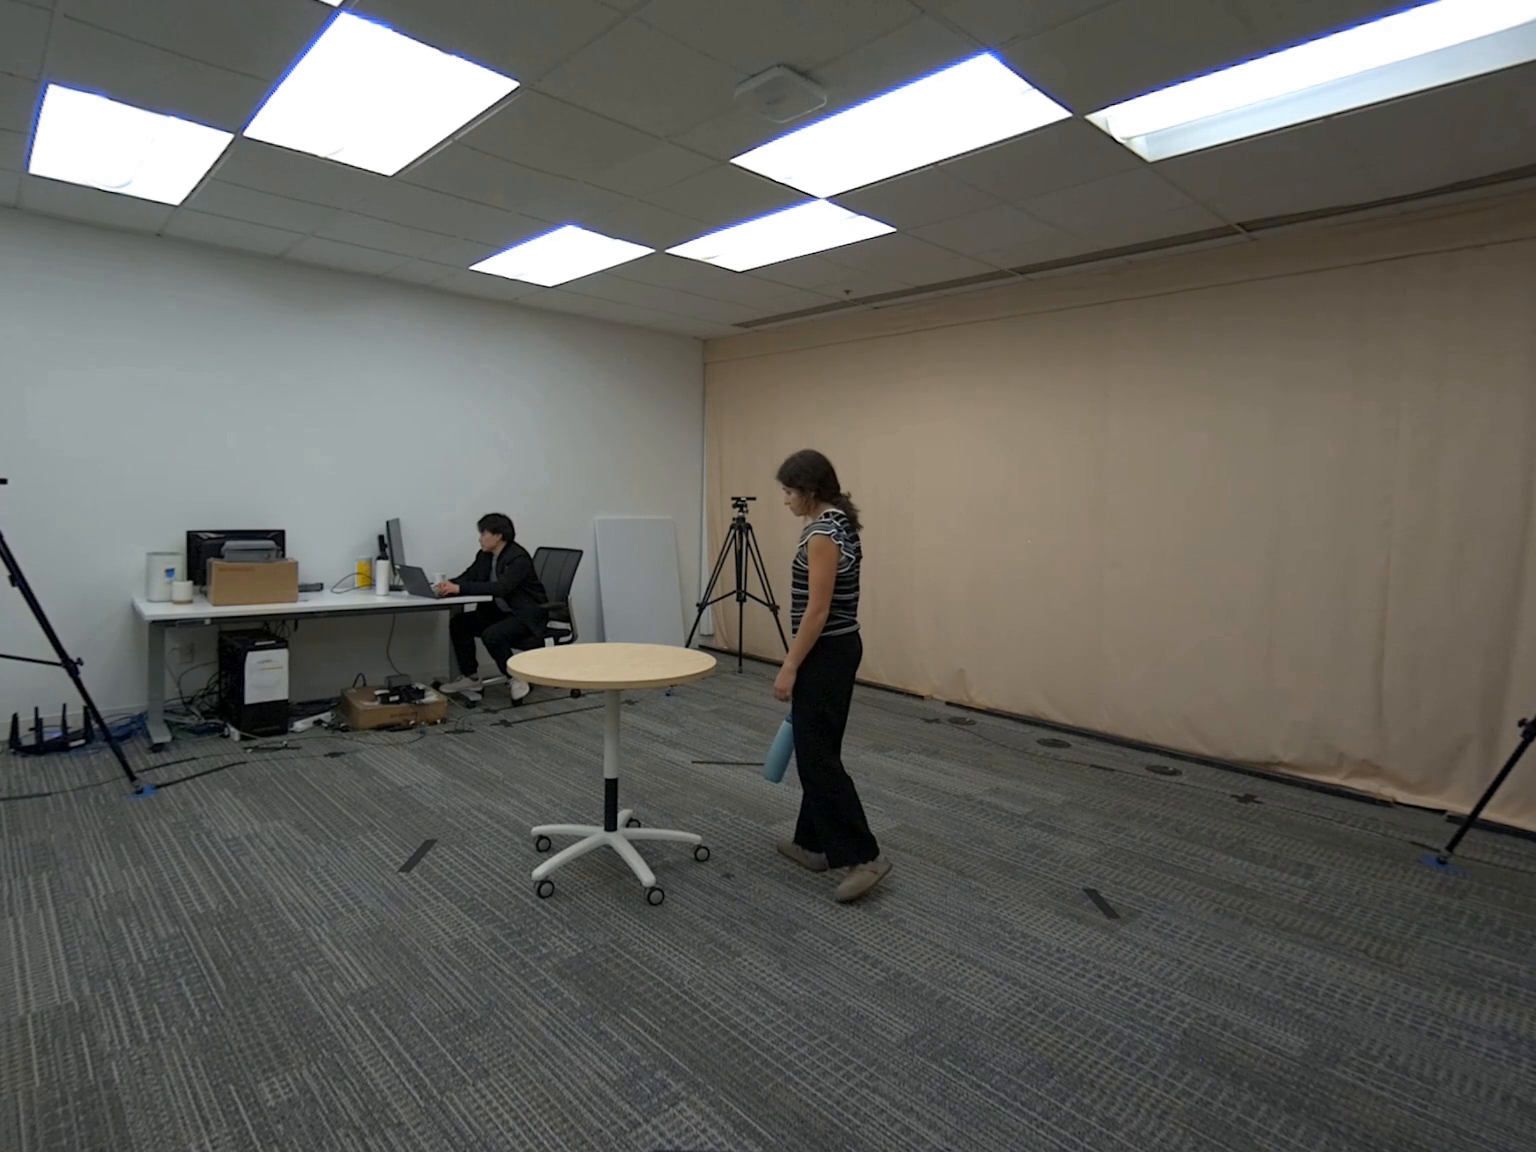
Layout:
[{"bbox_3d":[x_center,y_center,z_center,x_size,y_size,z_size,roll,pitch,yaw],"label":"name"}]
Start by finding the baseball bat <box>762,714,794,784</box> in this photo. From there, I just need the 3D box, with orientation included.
[{"bbox_3d":[0.101,0.578,3.371,0.089,0.542,0.089,19,4,-3],"label":"baseball bat"}]
